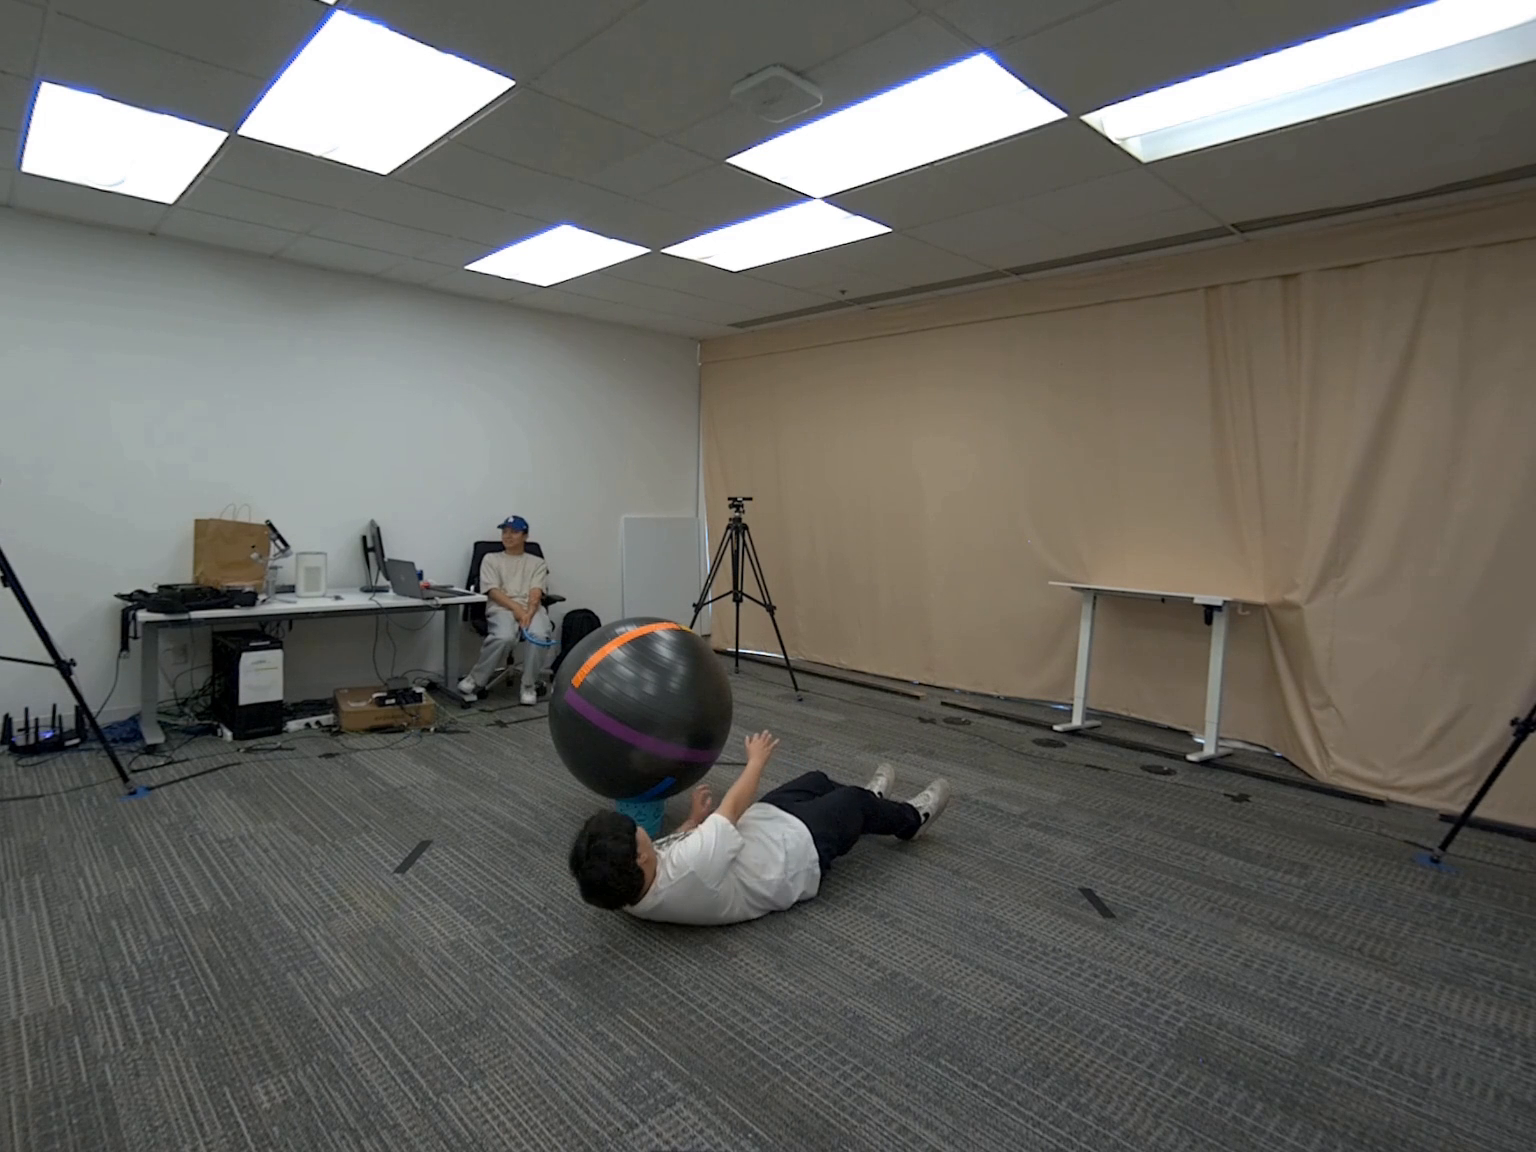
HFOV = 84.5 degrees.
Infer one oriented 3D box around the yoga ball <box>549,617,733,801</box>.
[{"bbox_3d":[-0.531,0.549,3.513,0.757,0.756,0.761,1,4,-1],"label":"yoga ball"}]
